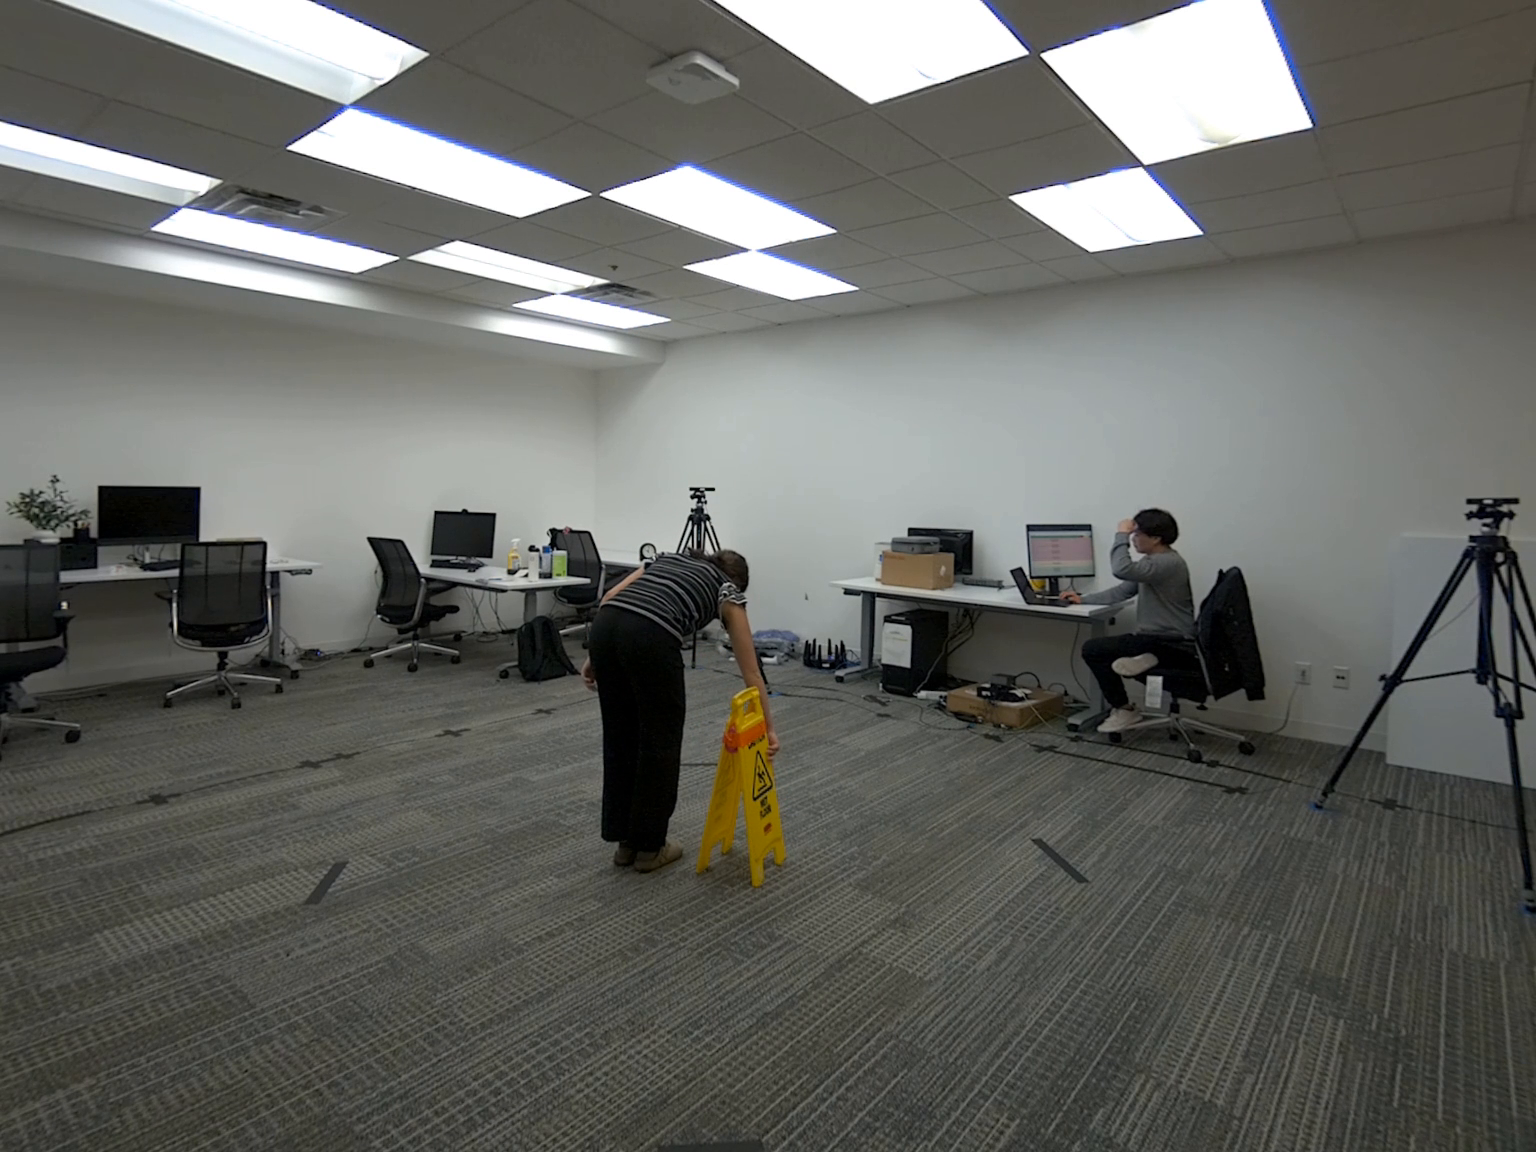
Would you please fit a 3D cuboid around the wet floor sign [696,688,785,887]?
[{"bbox_3d":[-0.097,0.747,3.114,0.297,0.644,0.276,3,4,24],"label":"wet floor sign"}]
